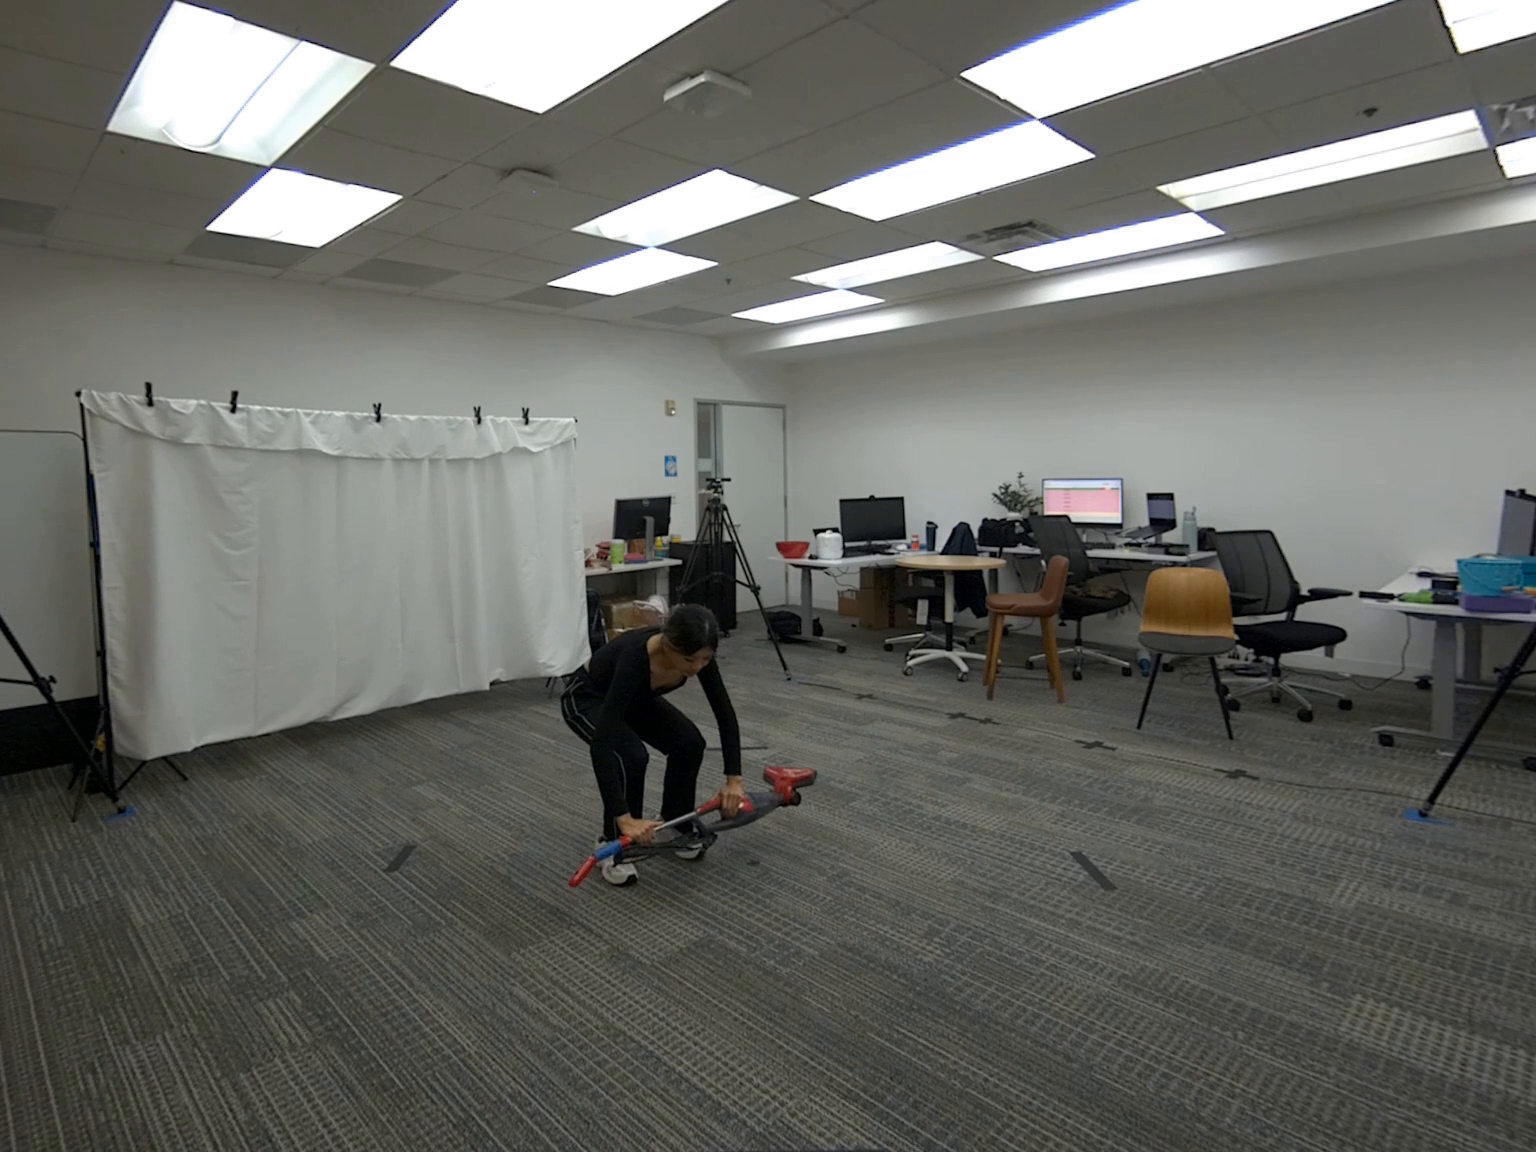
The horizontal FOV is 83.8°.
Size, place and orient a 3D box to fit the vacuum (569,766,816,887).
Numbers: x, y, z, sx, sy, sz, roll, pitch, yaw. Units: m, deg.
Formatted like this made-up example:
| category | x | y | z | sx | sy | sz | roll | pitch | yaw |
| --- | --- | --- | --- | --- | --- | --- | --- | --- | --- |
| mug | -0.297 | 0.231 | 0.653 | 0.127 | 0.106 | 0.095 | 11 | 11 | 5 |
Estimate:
| category | x | y | z | sx | sy | sz | roll | pitch | yaw |
| --- | --- | --- | --- | --- | --- | --- | --- | --- | --- |
| vacuum | -0.242 | 0.862 | 2.918 | 0.258 | 0.145 | 1.023 | -14 | -4 | 41 |
